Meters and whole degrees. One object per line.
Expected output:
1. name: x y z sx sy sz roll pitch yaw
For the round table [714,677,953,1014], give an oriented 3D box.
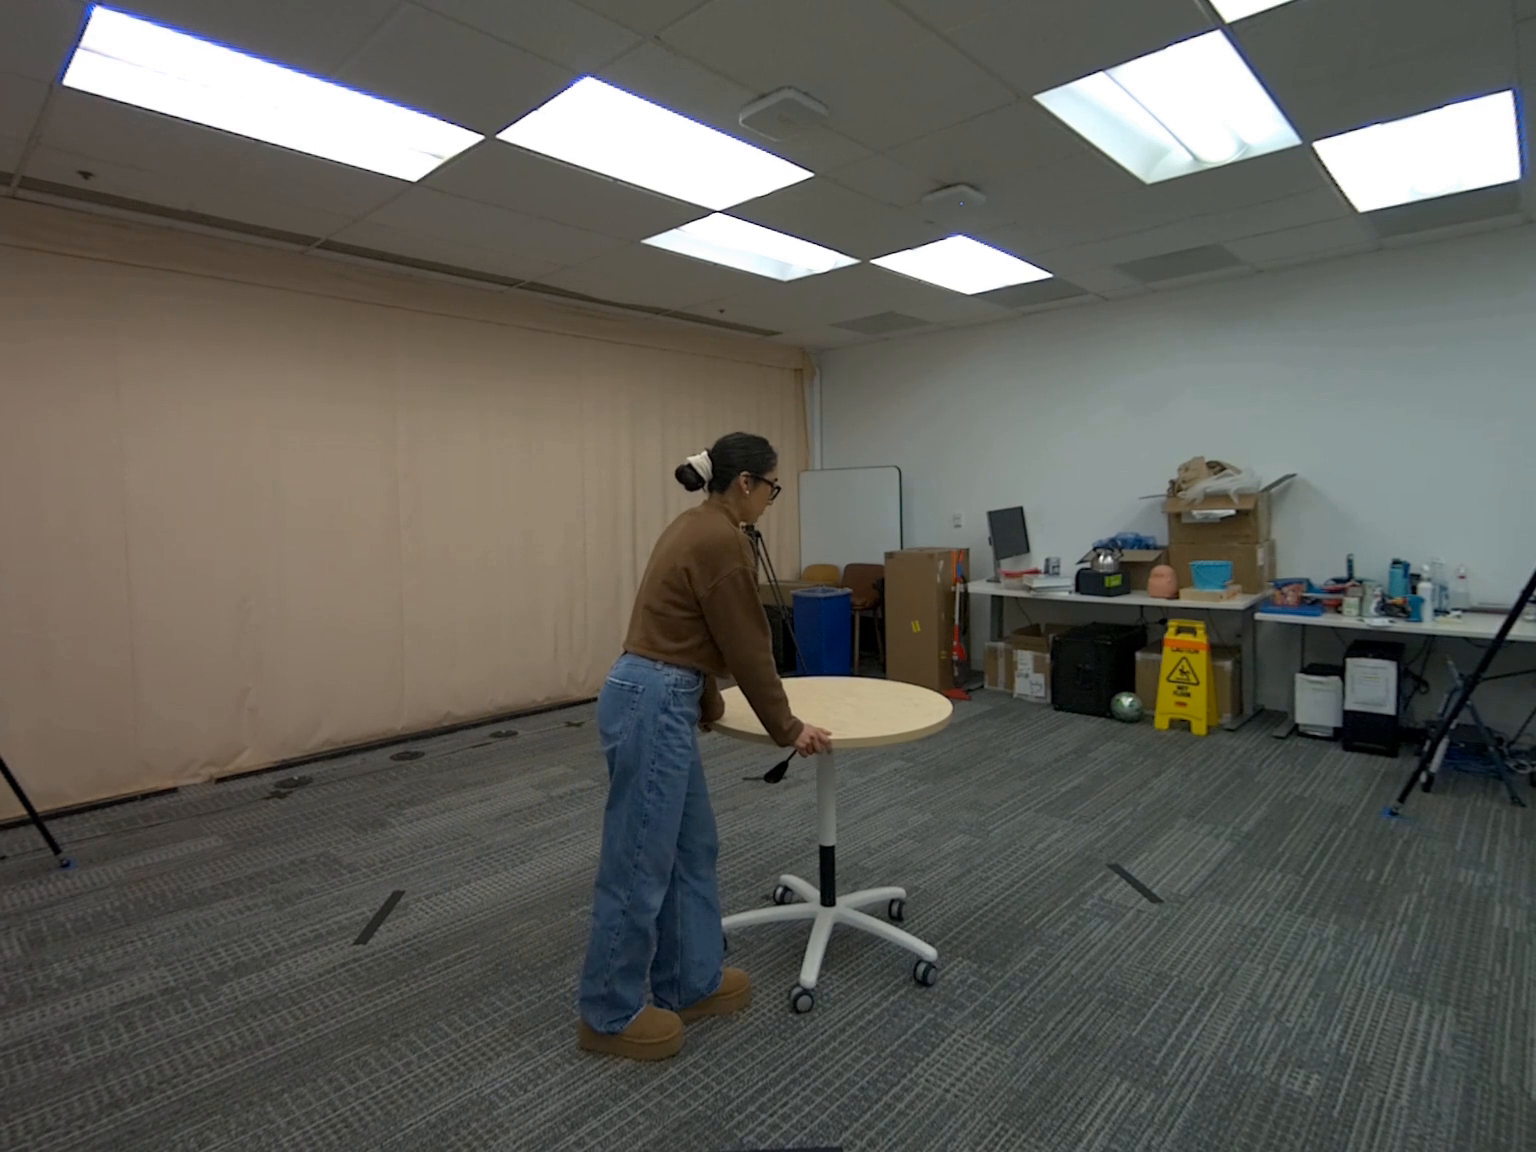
1. round table: 0.189 0.785 2.615 0.763 0.792 0.767 -1 4 -2
